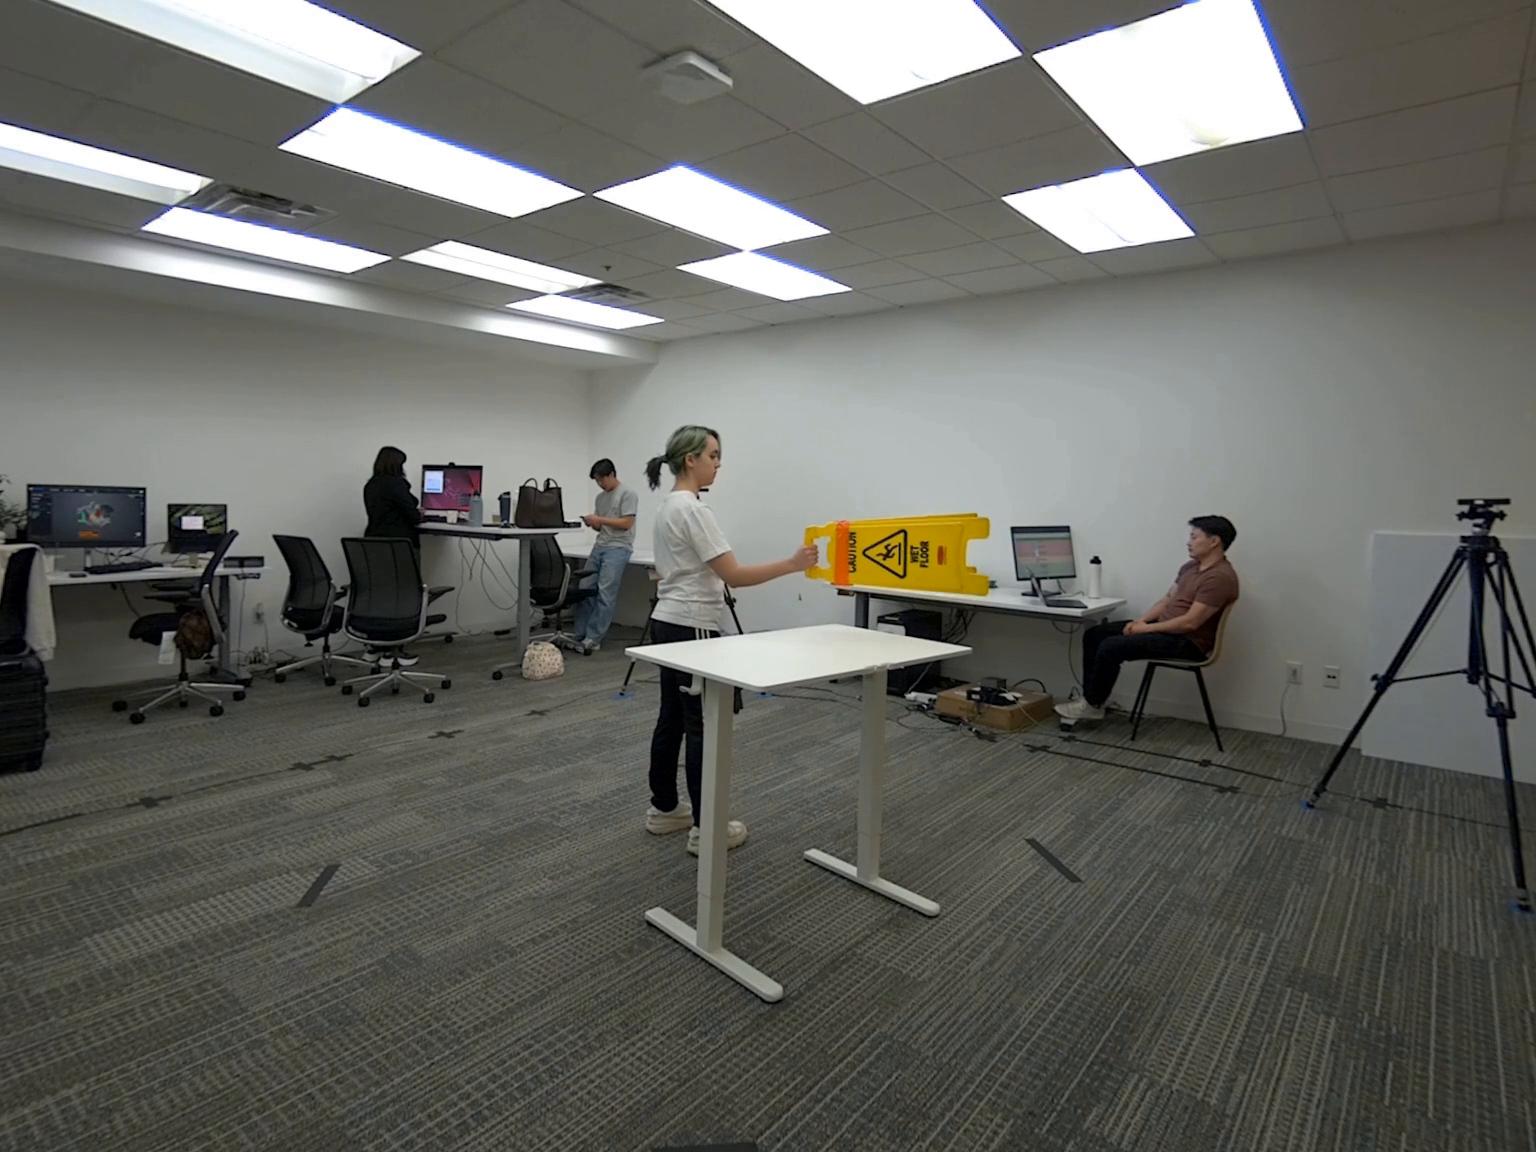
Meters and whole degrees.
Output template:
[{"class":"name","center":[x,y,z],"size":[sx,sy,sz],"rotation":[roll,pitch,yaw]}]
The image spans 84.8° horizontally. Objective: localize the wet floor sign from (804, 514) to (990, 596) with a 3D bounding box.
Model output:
[{"class":"wet floor sign","center":[0.446,-0.084,3.157],"size":[0.651,0.281,0.289],"rotation":[0,5,6]}]
